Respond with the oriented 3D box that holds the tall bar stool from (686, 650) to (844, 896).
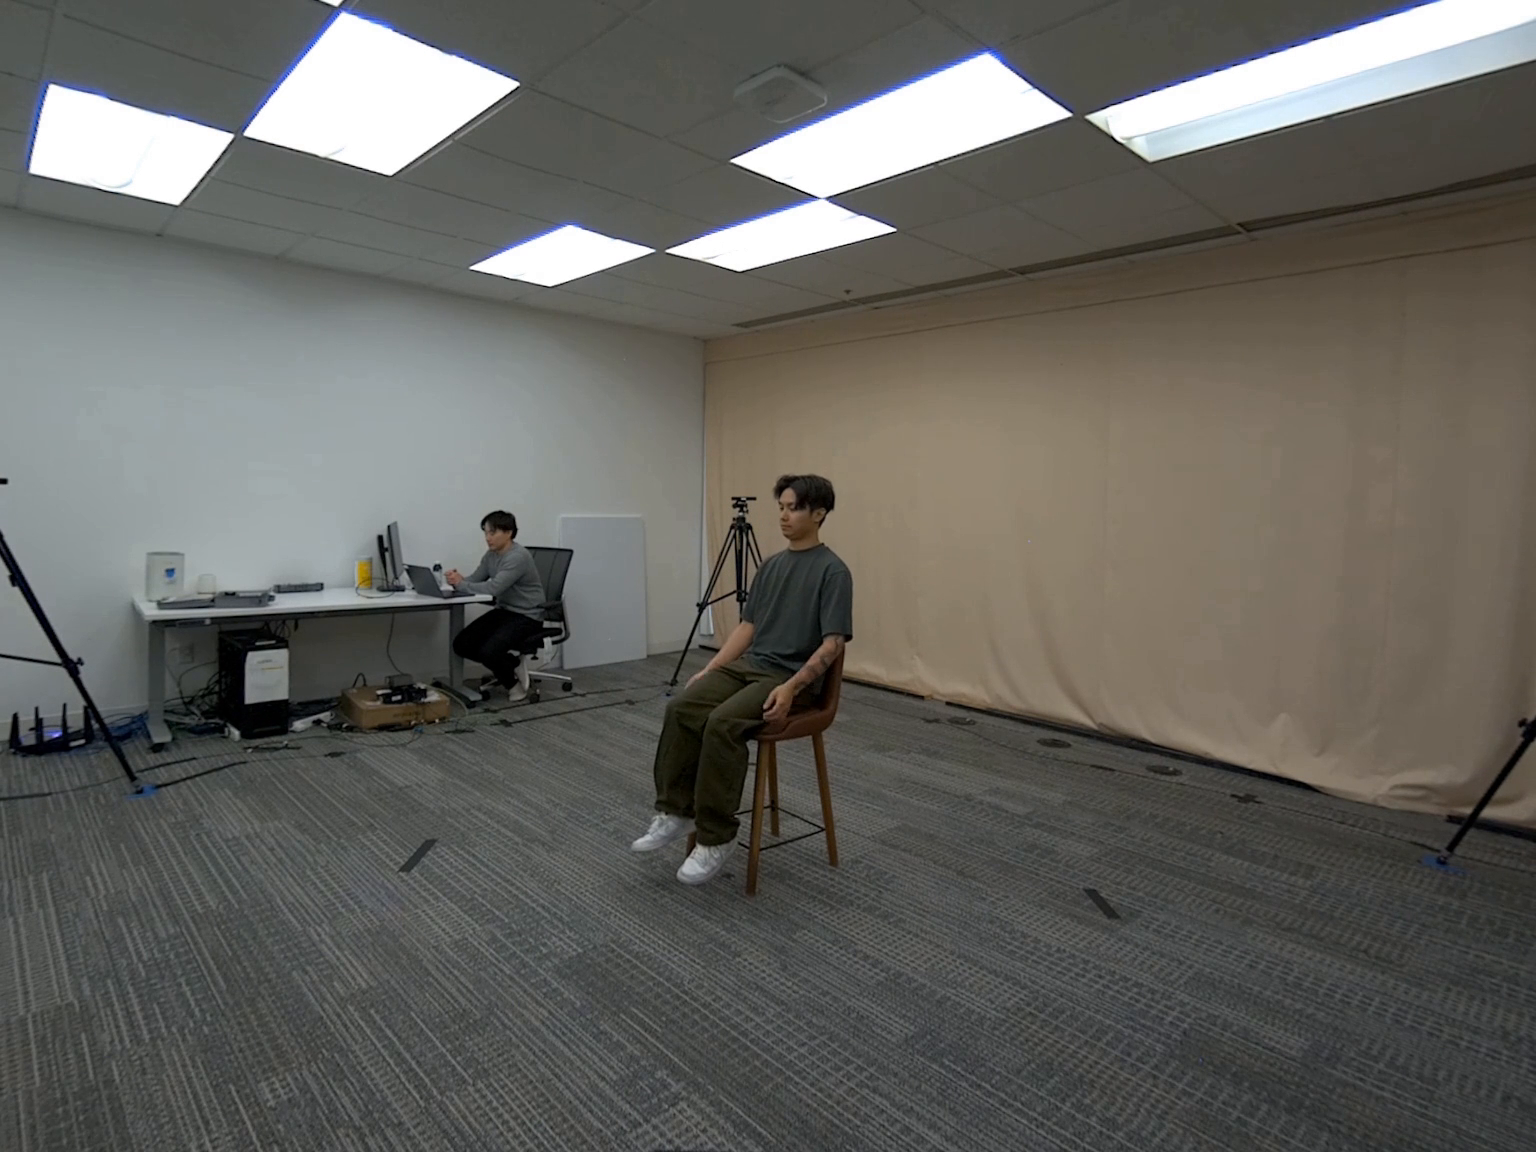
[{"bbox_3d":[-0.004,0.663,3.223,0.456,0.889,0.468,2,2,-39],"label":"tall bar stool"}]
